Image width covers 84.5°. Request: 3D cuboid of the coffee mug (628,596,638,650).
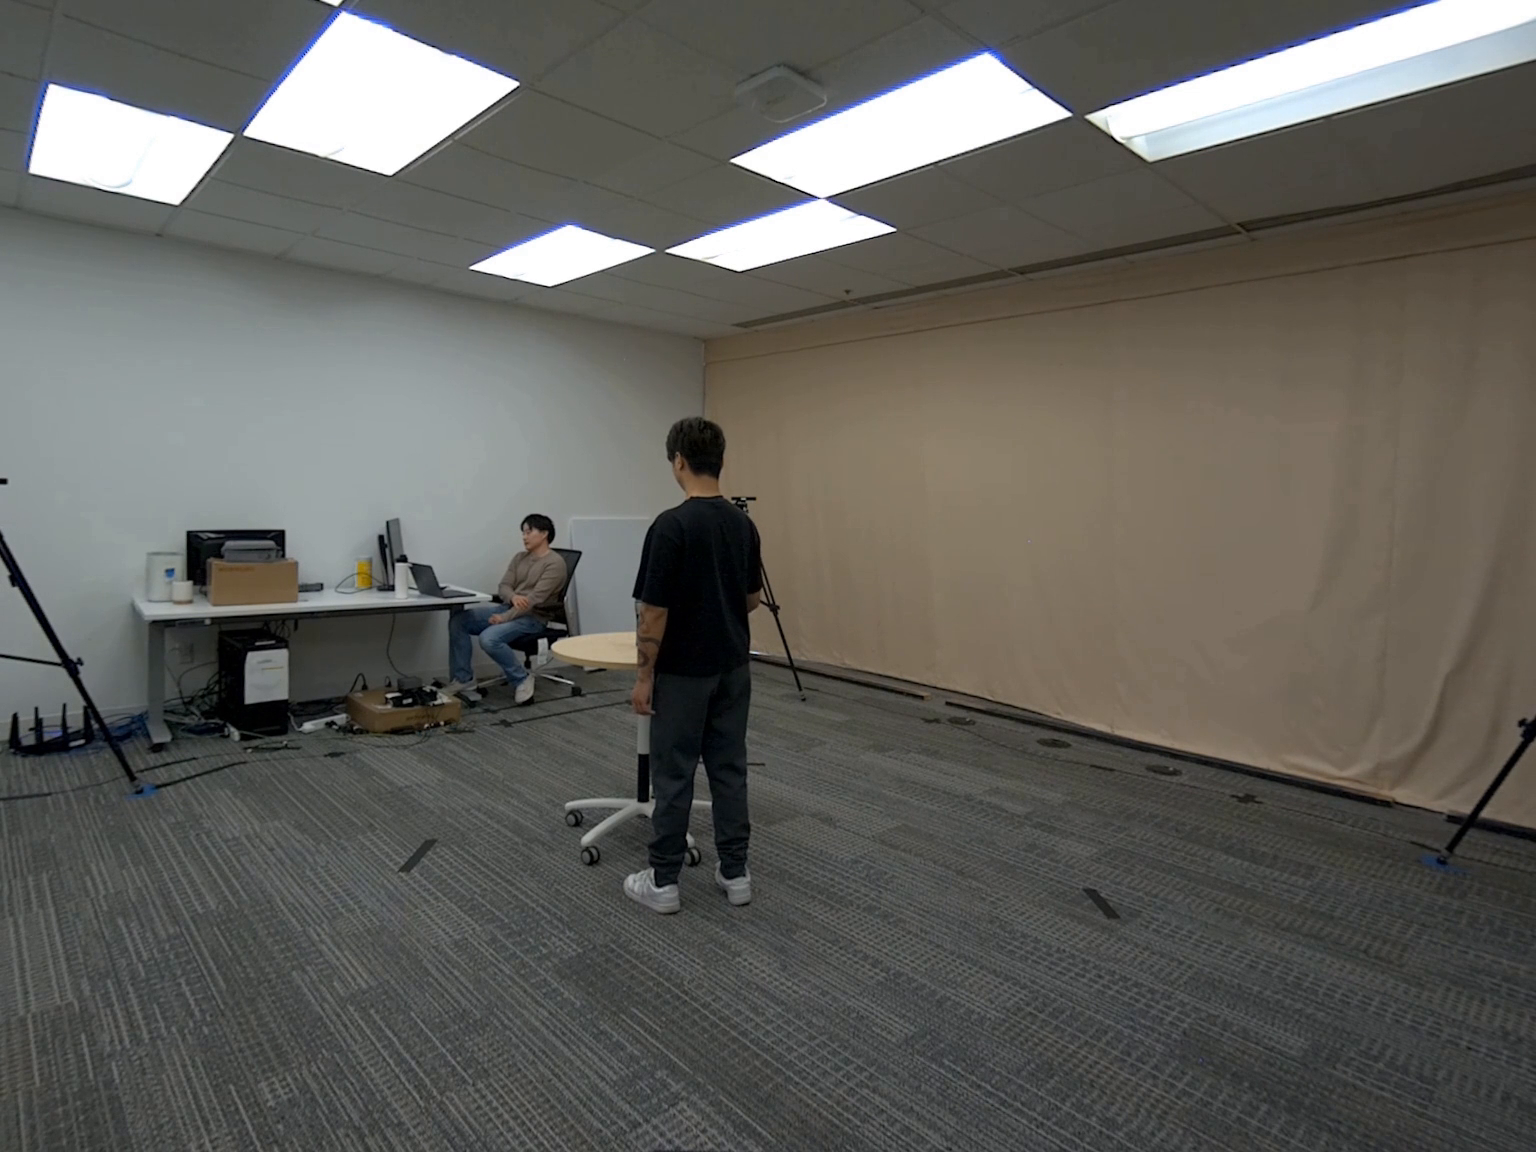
[{"bbox_3d":[-0.497,0.188,3.417,0.086,0.203,0.124,4,-1,-29],"label":"coffee mug"}]
